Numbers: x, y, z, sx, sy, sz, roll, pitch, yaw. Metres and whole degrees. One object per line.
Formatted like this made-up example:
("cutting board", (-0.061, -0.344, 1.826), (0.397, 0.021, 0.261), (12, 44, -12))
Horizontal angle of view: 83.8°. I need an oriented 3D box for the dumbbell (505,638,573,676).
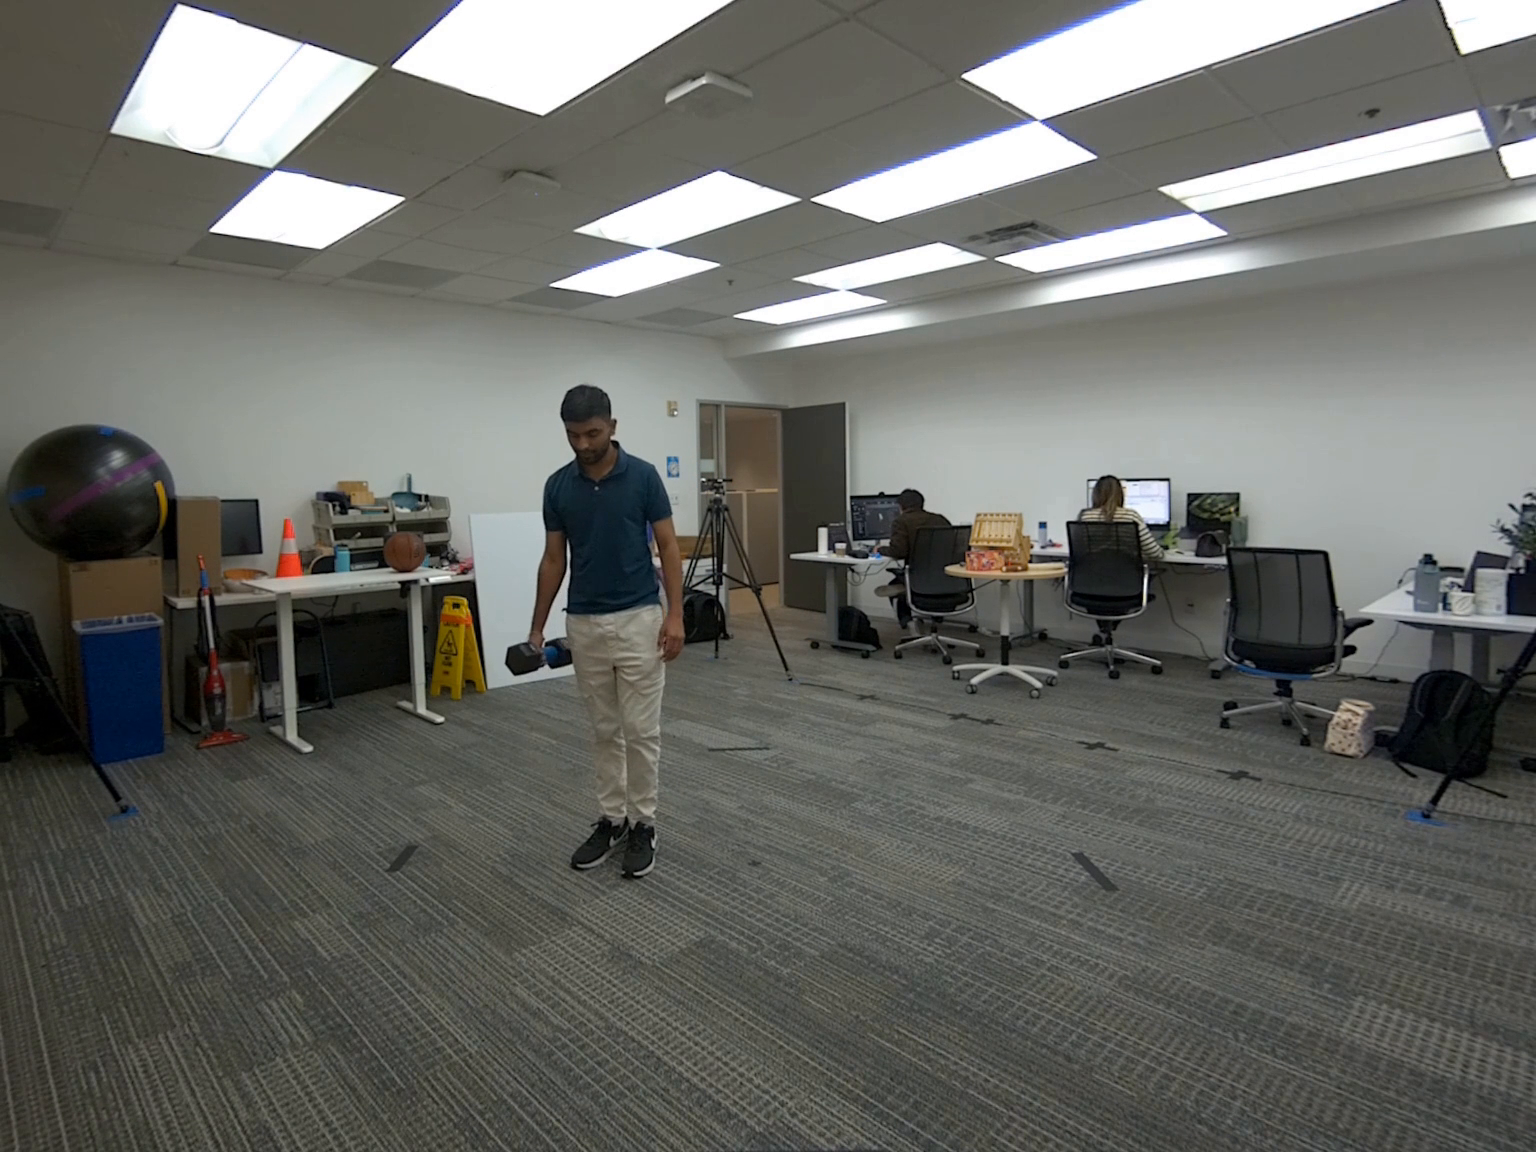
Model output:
("dumbbell", (-0.828, 0.288, 3.146), (0.126, 0.108, 0.287), (45, 17, 18))
